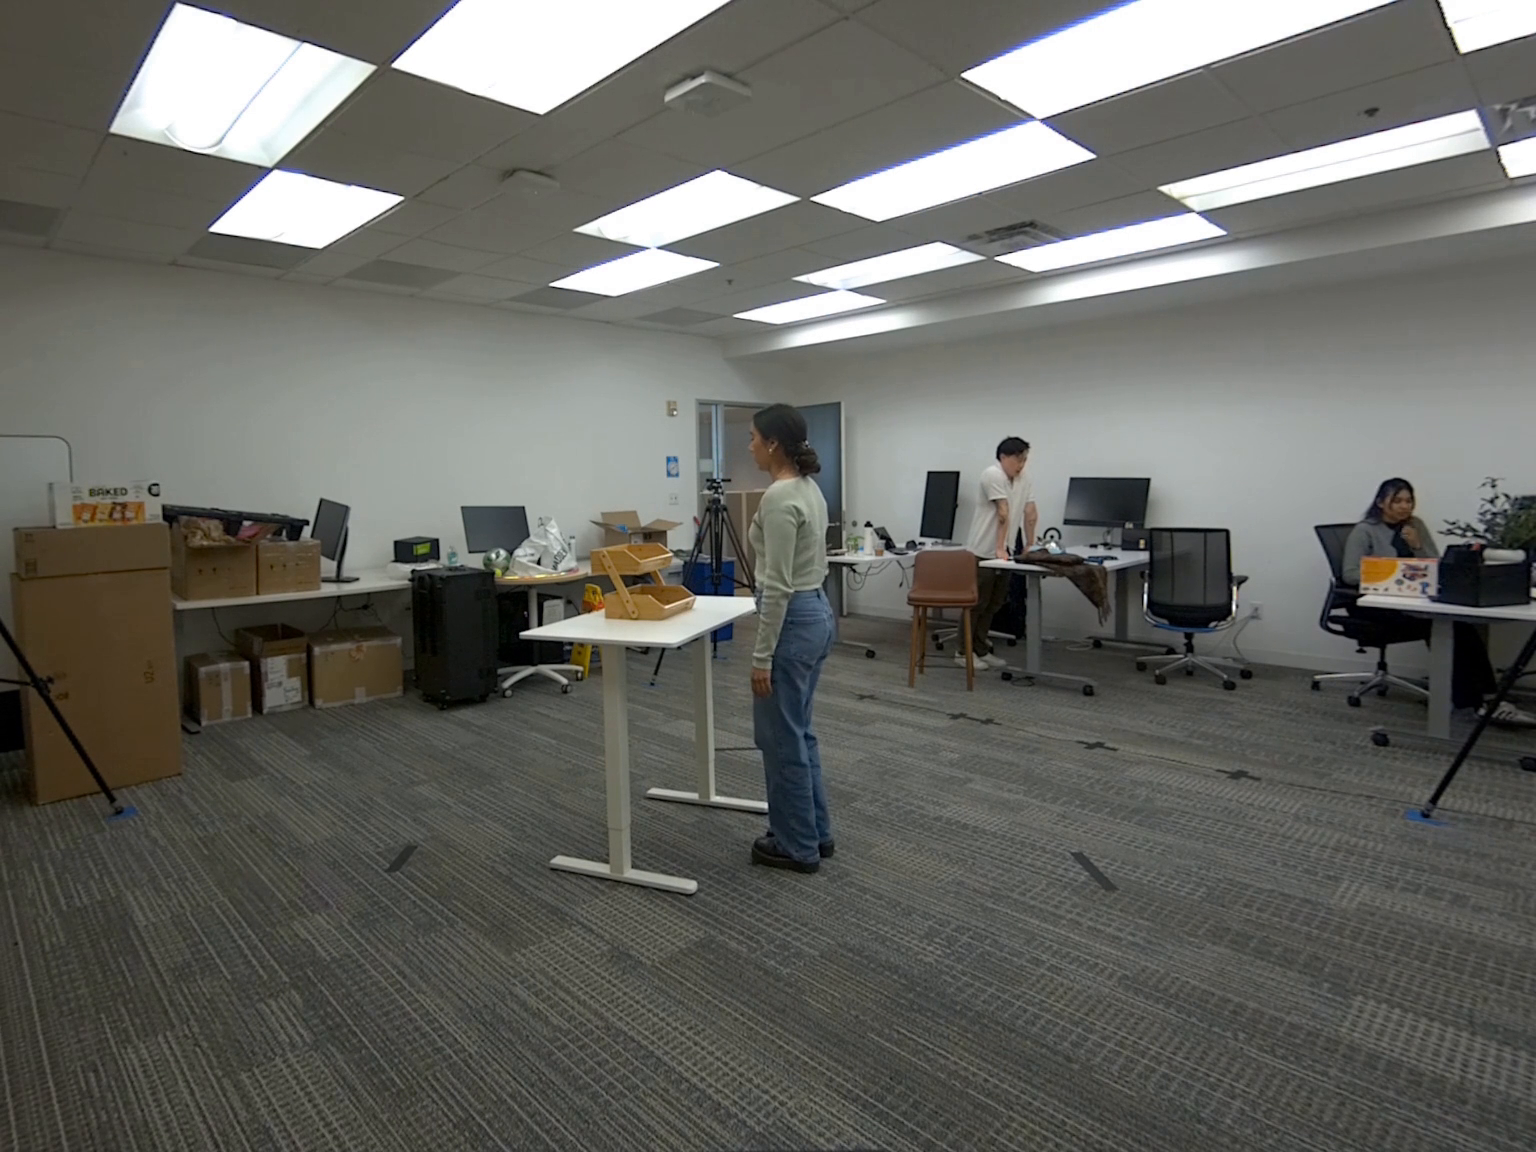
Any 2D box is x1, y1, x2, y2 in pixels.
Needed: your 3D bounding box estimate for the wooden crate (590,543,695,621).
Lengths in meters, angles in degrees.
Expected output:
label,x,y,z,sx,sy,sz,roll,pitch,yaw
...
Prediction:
label,x,y,z,sx,sy,sz,roll,pitch,yaw
wooden crate,-0.467,0.013,3.317,0.308,0.272,0.320,0,5,19
